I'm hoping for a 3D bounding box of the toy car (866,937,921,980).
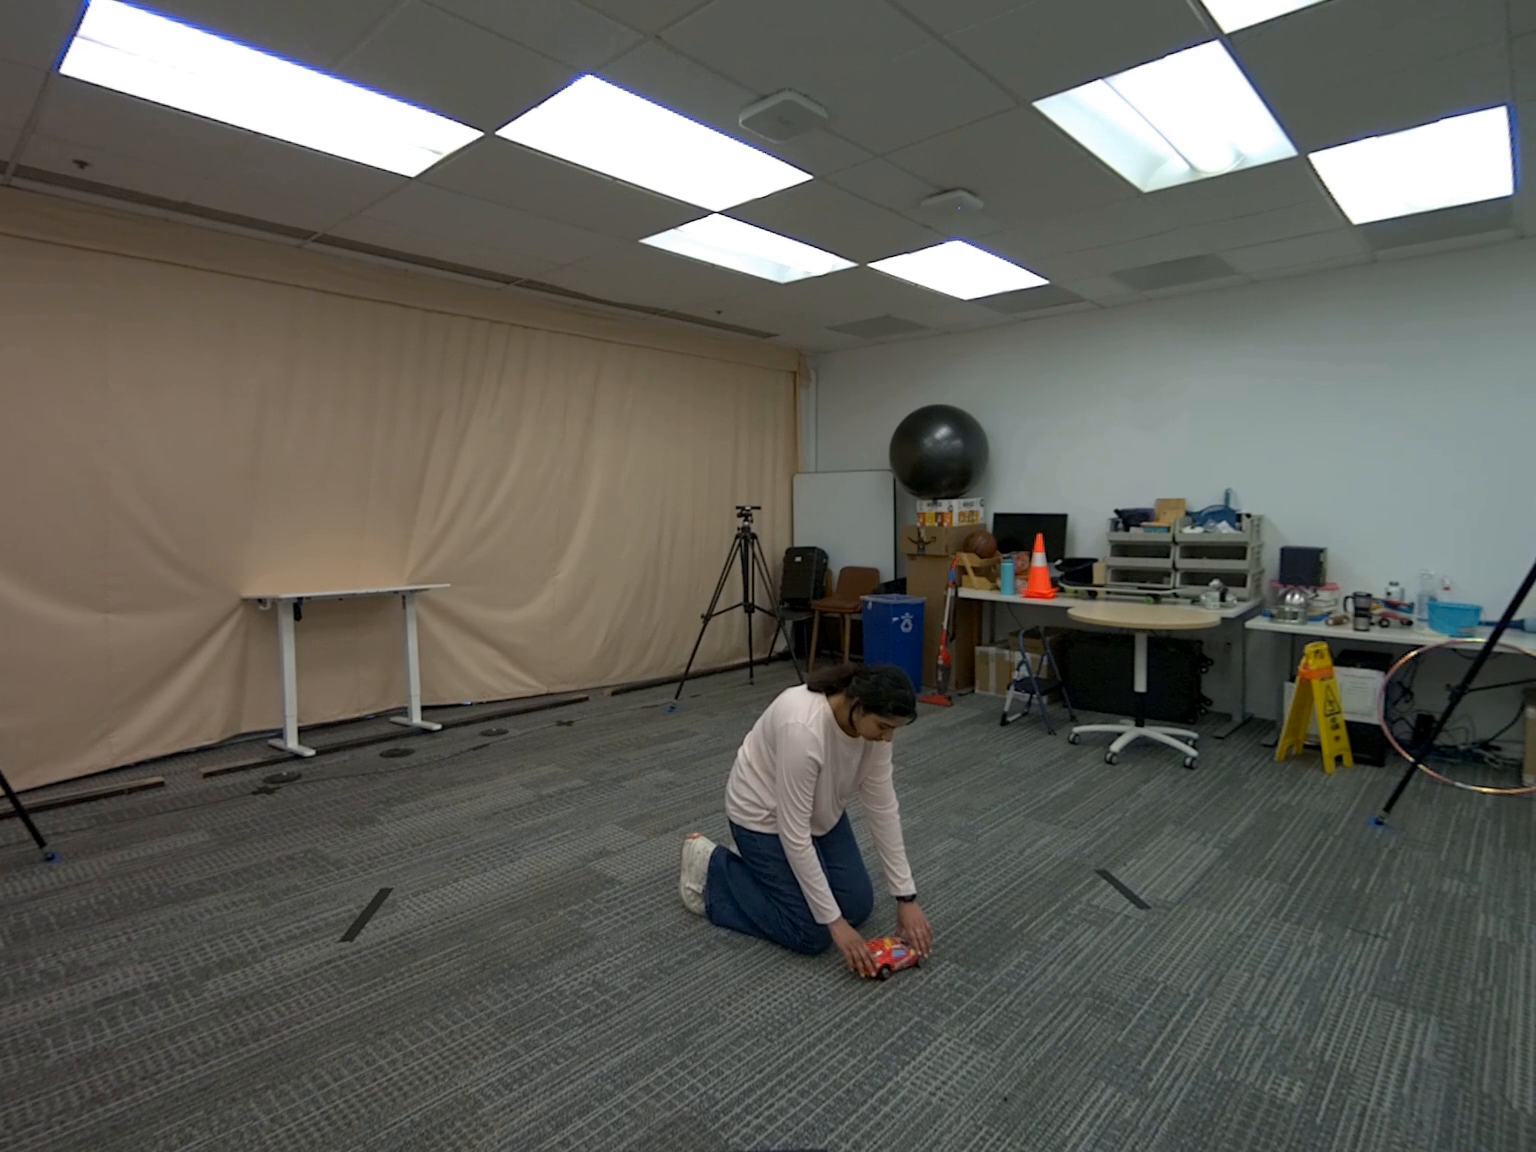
[{"bbox_3d":[0.364,1.149,2.534,0.248,0.083,0.134,11,-1,-26],"label":"toy car"}]
